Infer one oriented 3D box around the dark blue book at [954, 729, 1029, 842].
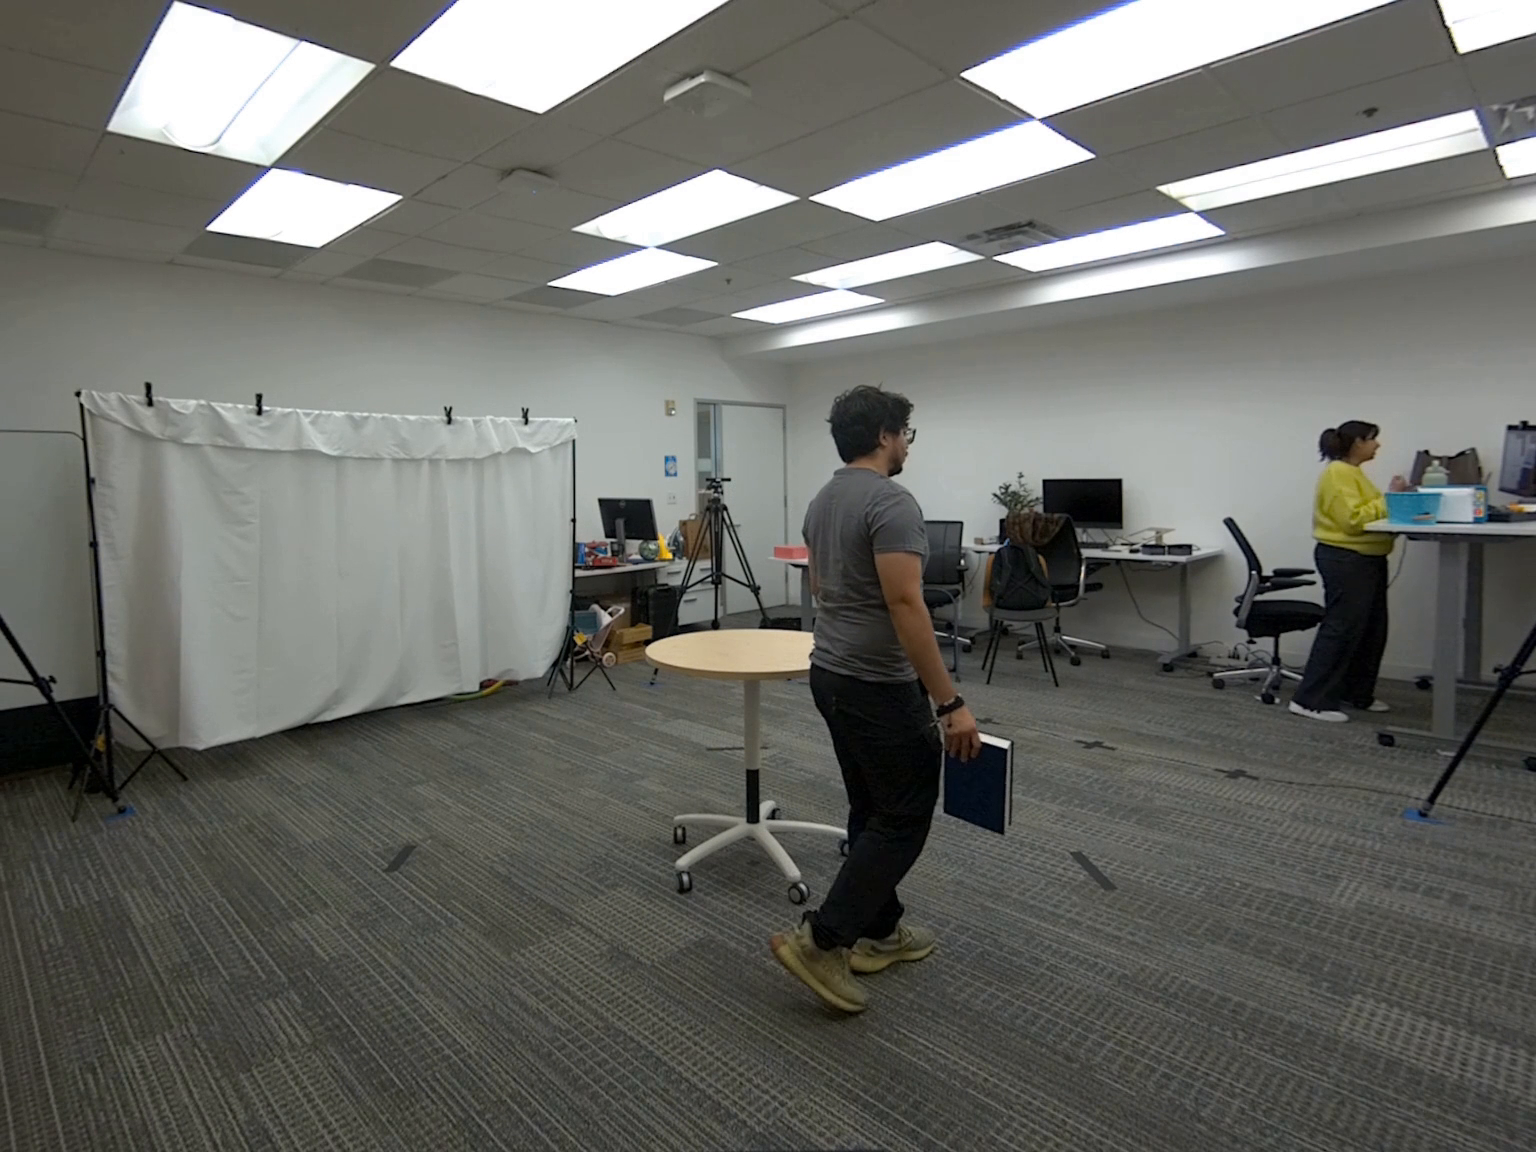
[{"bbox_3d":[0.544,0.507,2.104,0.169,0.241,0.044,10,21,37],"label":"dark blue book"}]
